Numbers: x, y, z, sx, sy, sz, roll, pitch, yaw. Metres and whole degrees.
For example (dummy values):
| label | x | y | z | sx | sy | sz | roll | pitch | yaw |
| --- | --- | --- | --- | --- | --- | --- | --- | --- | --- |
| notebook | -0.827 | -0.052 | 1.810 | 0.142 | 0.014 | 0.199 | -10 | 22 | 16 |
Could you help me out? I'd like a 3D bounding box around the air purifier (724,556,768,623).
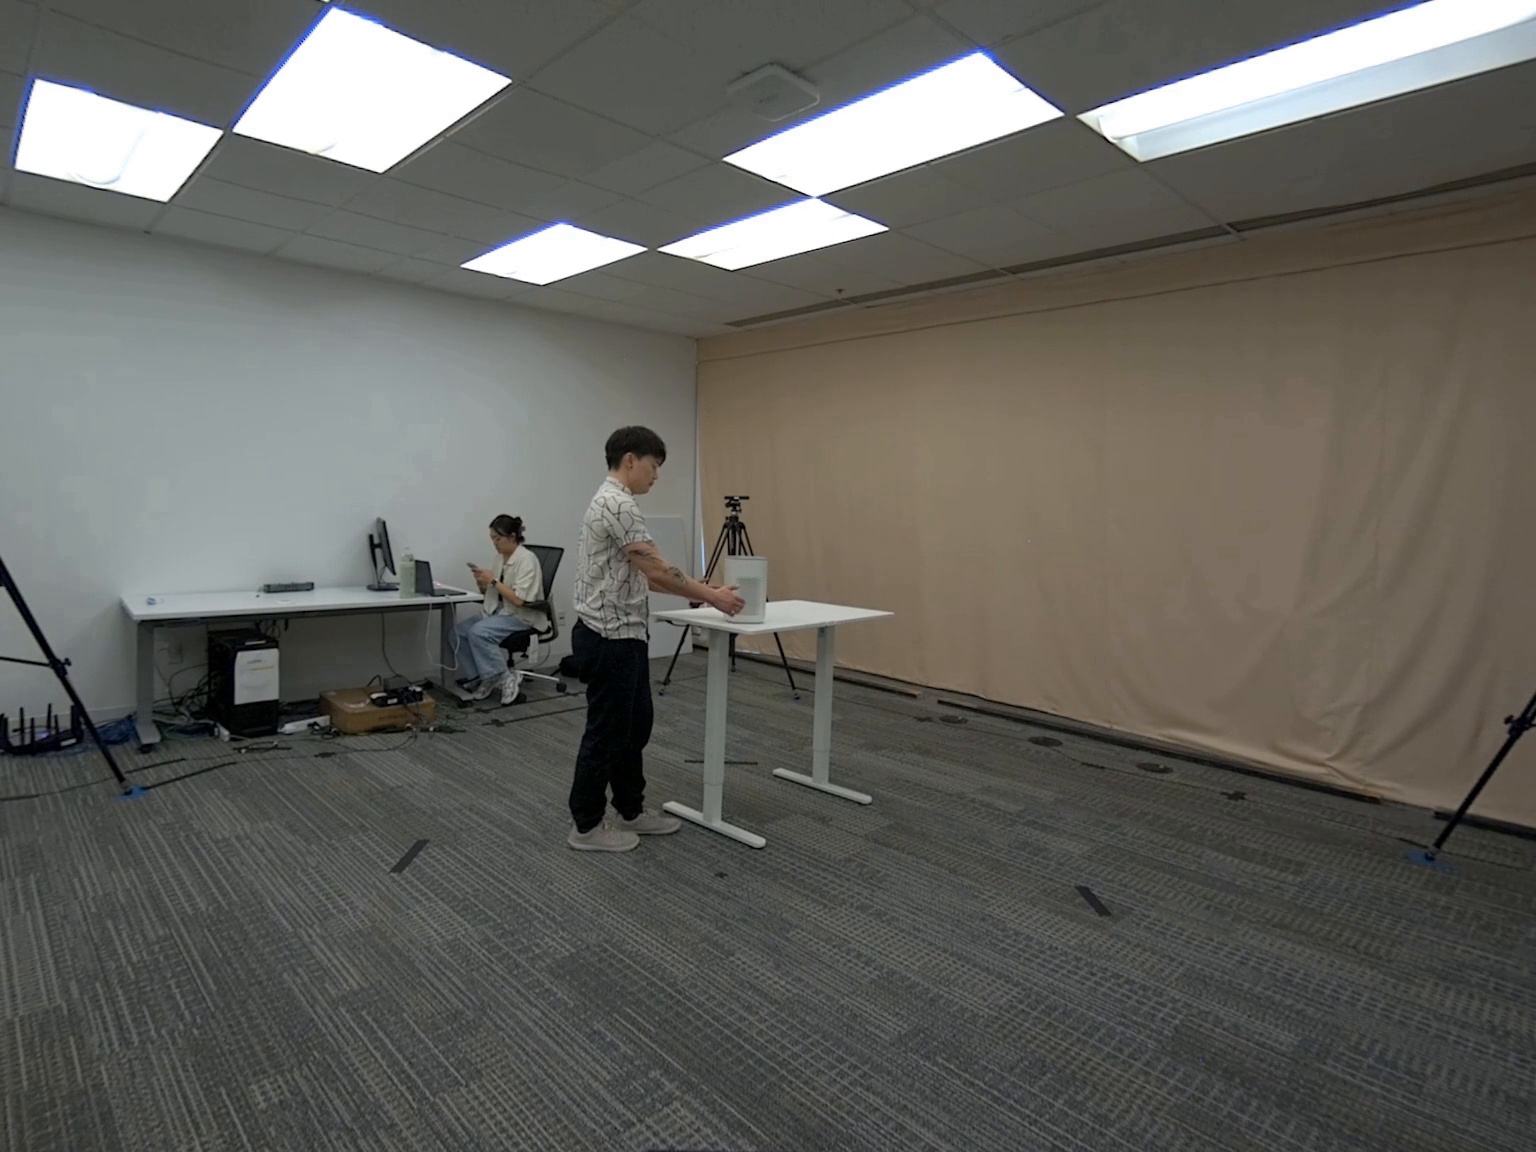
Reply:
| label | x | y | z | sx | sy | sz | roll | pitch | yaw |
| --- | --- | --- | --- | --- | --- | --- | --- | --- | --- |
| air purifier | -0.105 | 0.055 | 3.472 | 0.171 | 0.265 | 0.172 | 2 | 4 | -5 |
